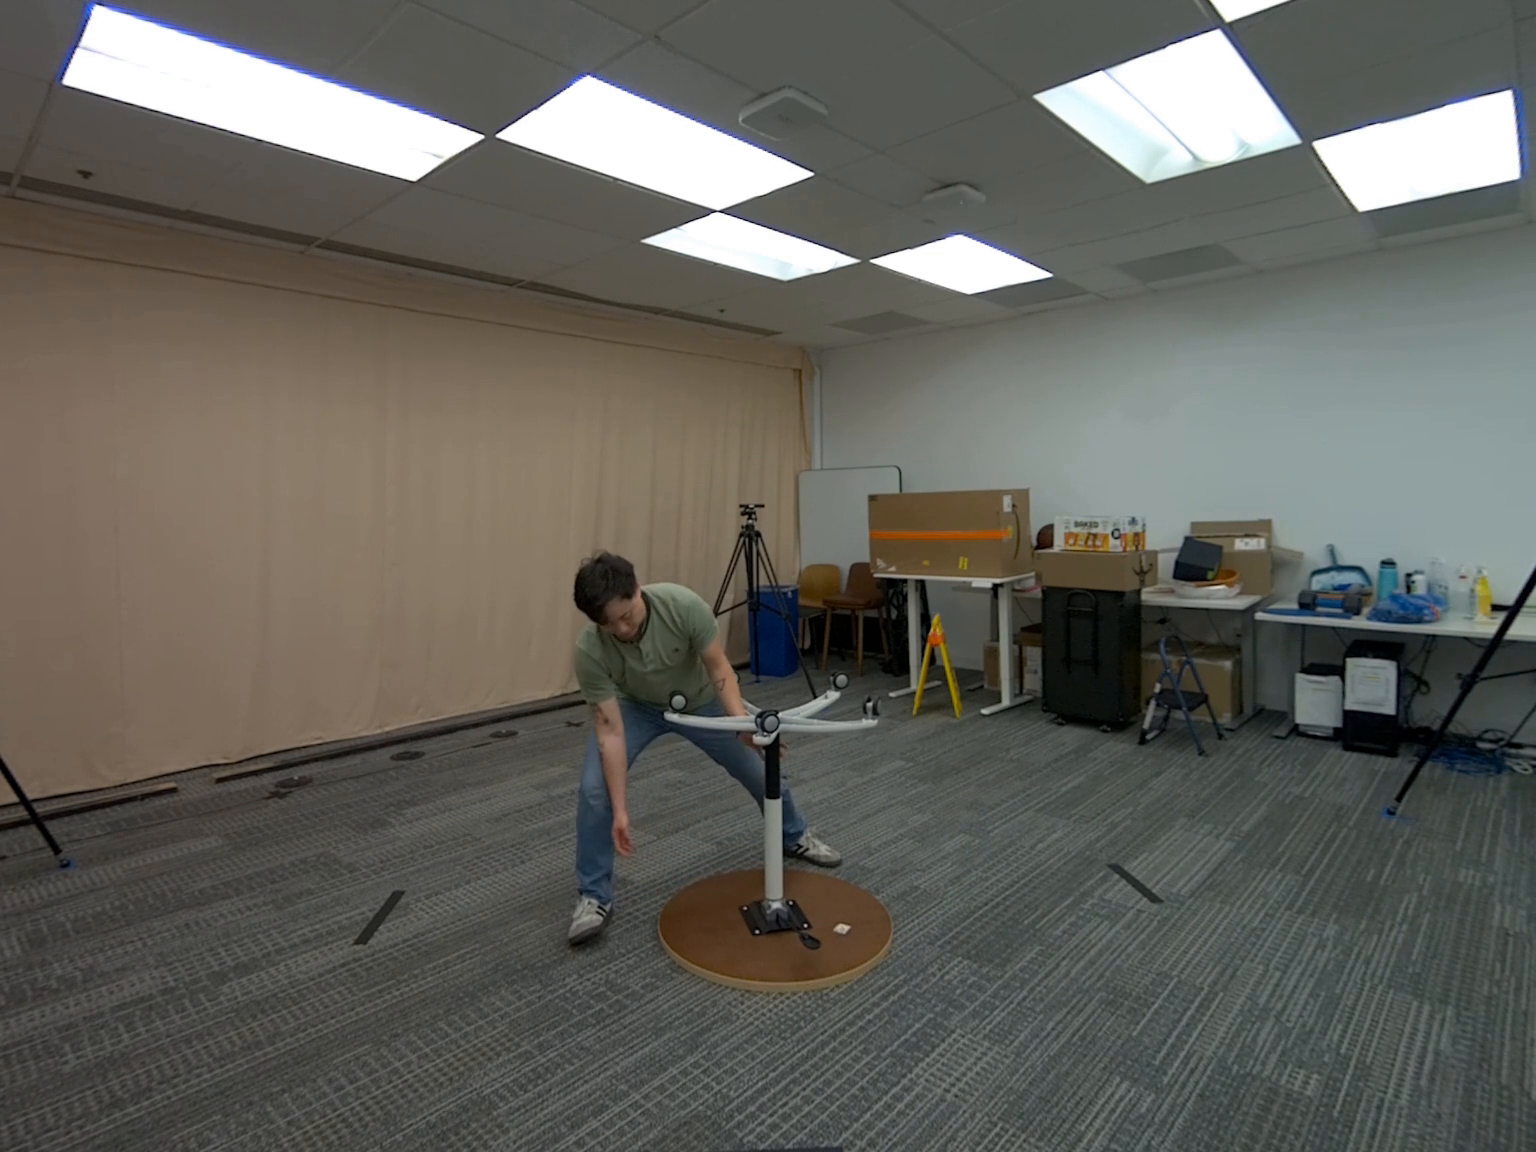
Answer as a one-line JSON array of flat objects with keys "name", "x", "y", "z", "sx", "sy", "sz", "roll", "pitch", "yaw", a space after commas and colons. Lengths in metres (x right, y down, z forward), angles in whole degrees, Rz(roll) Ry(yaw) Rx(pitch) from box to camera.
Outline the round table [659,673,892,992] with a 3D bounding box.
[{"name": "round table", "x": 0.022, "y": 0.759, "z": 2.755, "sx": 0.763, "sy": 0.792, "sz": 0.766, "roll": -1, "pitch": 3, "yaw": -2}]
